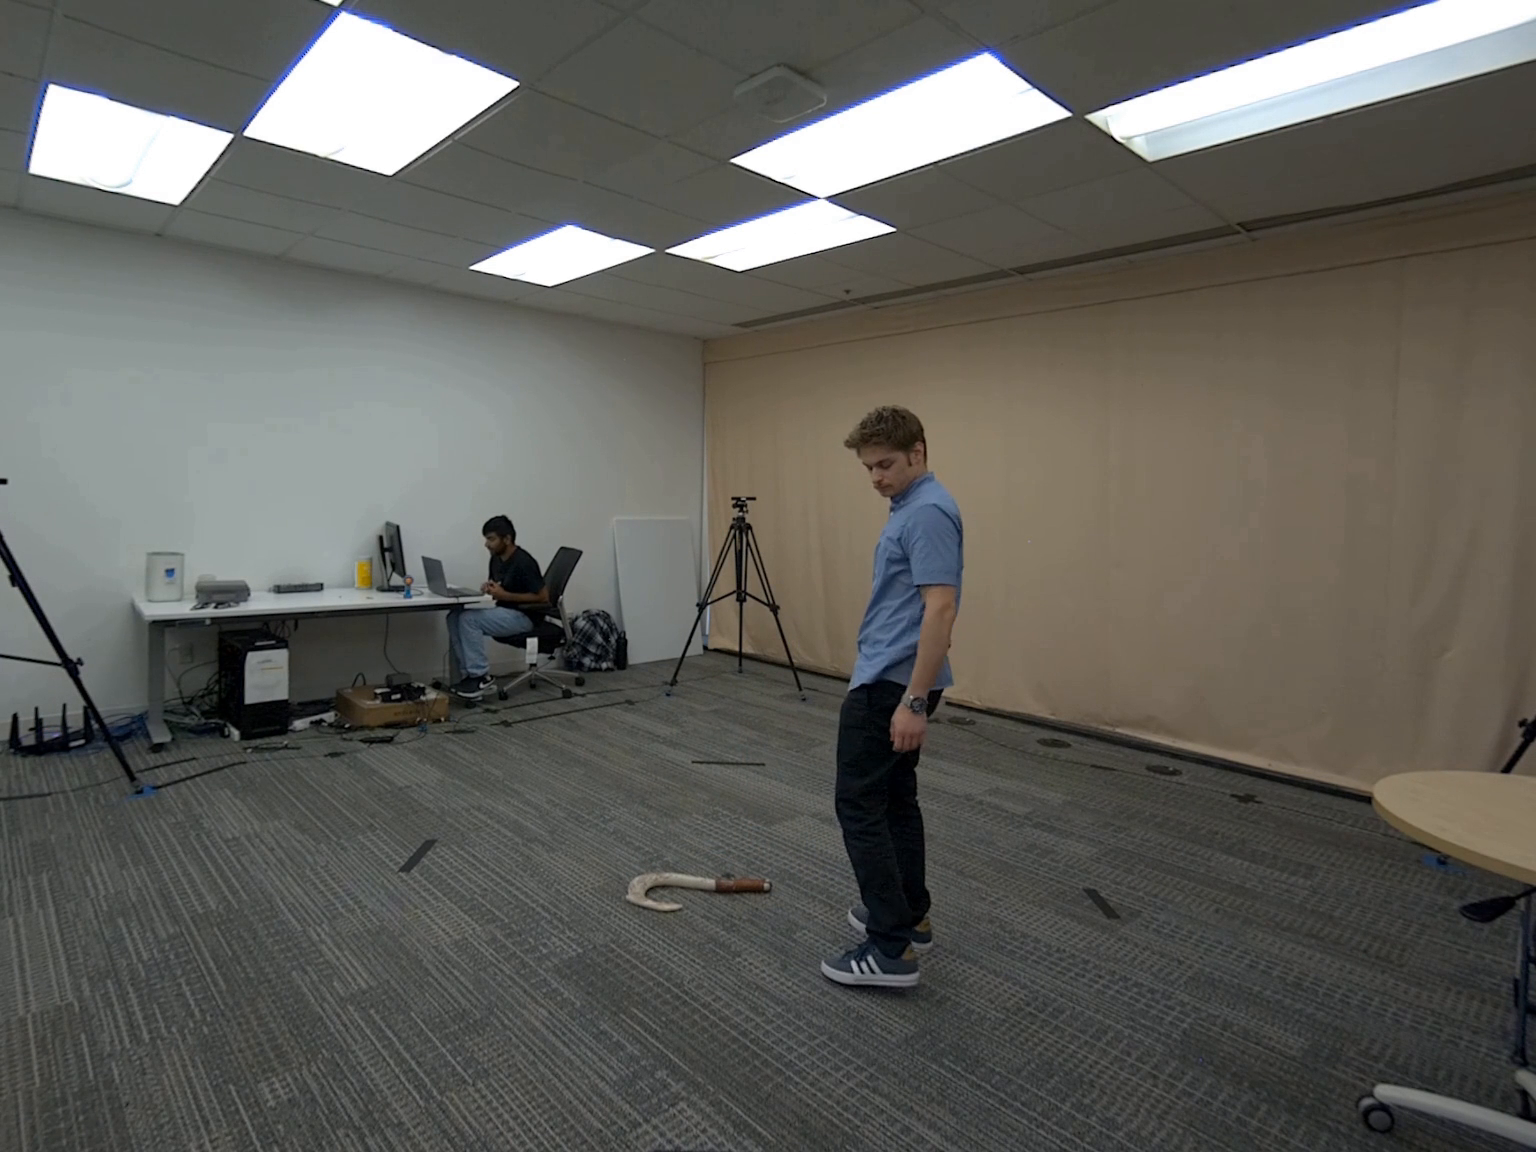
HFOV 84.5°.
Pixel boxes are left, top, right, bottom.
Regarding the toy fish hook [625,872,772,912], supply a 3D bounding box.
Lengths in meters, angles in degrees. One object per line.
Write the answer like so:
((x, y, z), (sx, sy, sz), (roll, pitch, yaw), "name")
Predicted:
((-0.243, 1.106, 2.931), (0.506, 0.048, 0.227), (1, 13, -1), "toy fish hook")
